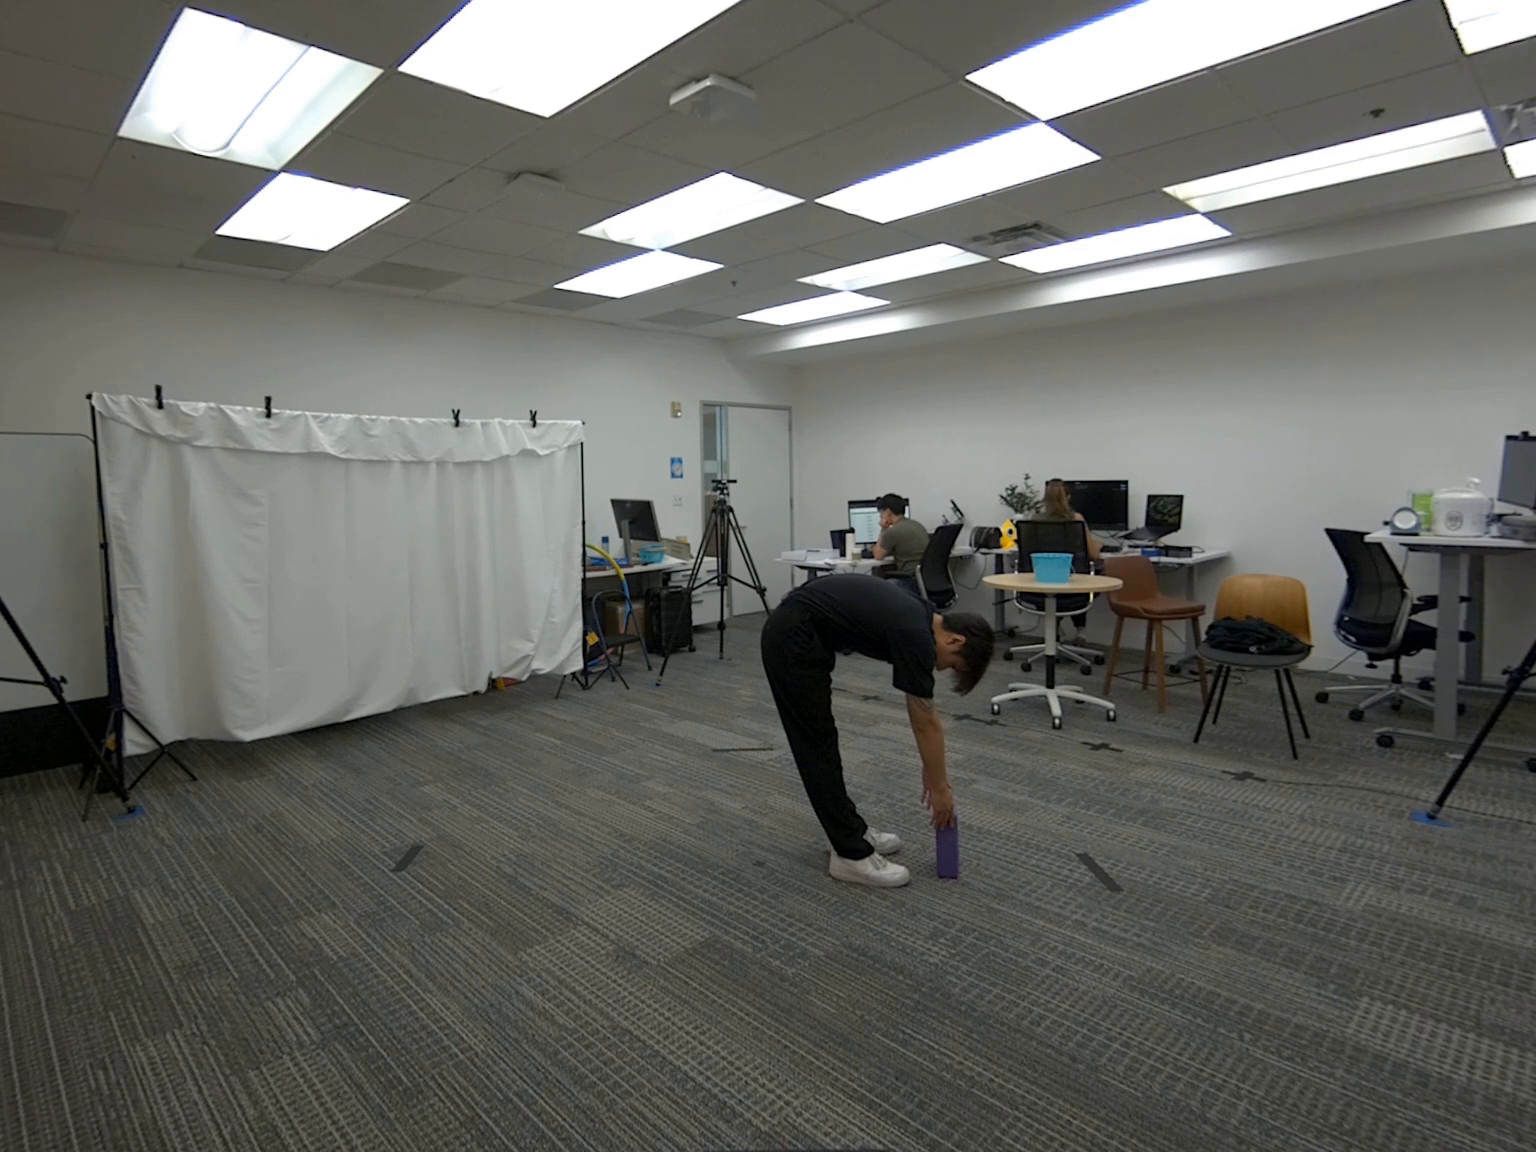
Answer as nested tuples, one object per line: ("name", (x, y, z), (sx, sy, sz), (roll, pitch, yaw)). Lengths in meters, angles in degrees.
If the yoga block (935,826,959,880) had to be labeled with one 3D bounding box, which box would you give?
("yoga block", (0.631, 0.926, 3.023), (0.077, 0.228, 0.148), (0, 6, 9))
